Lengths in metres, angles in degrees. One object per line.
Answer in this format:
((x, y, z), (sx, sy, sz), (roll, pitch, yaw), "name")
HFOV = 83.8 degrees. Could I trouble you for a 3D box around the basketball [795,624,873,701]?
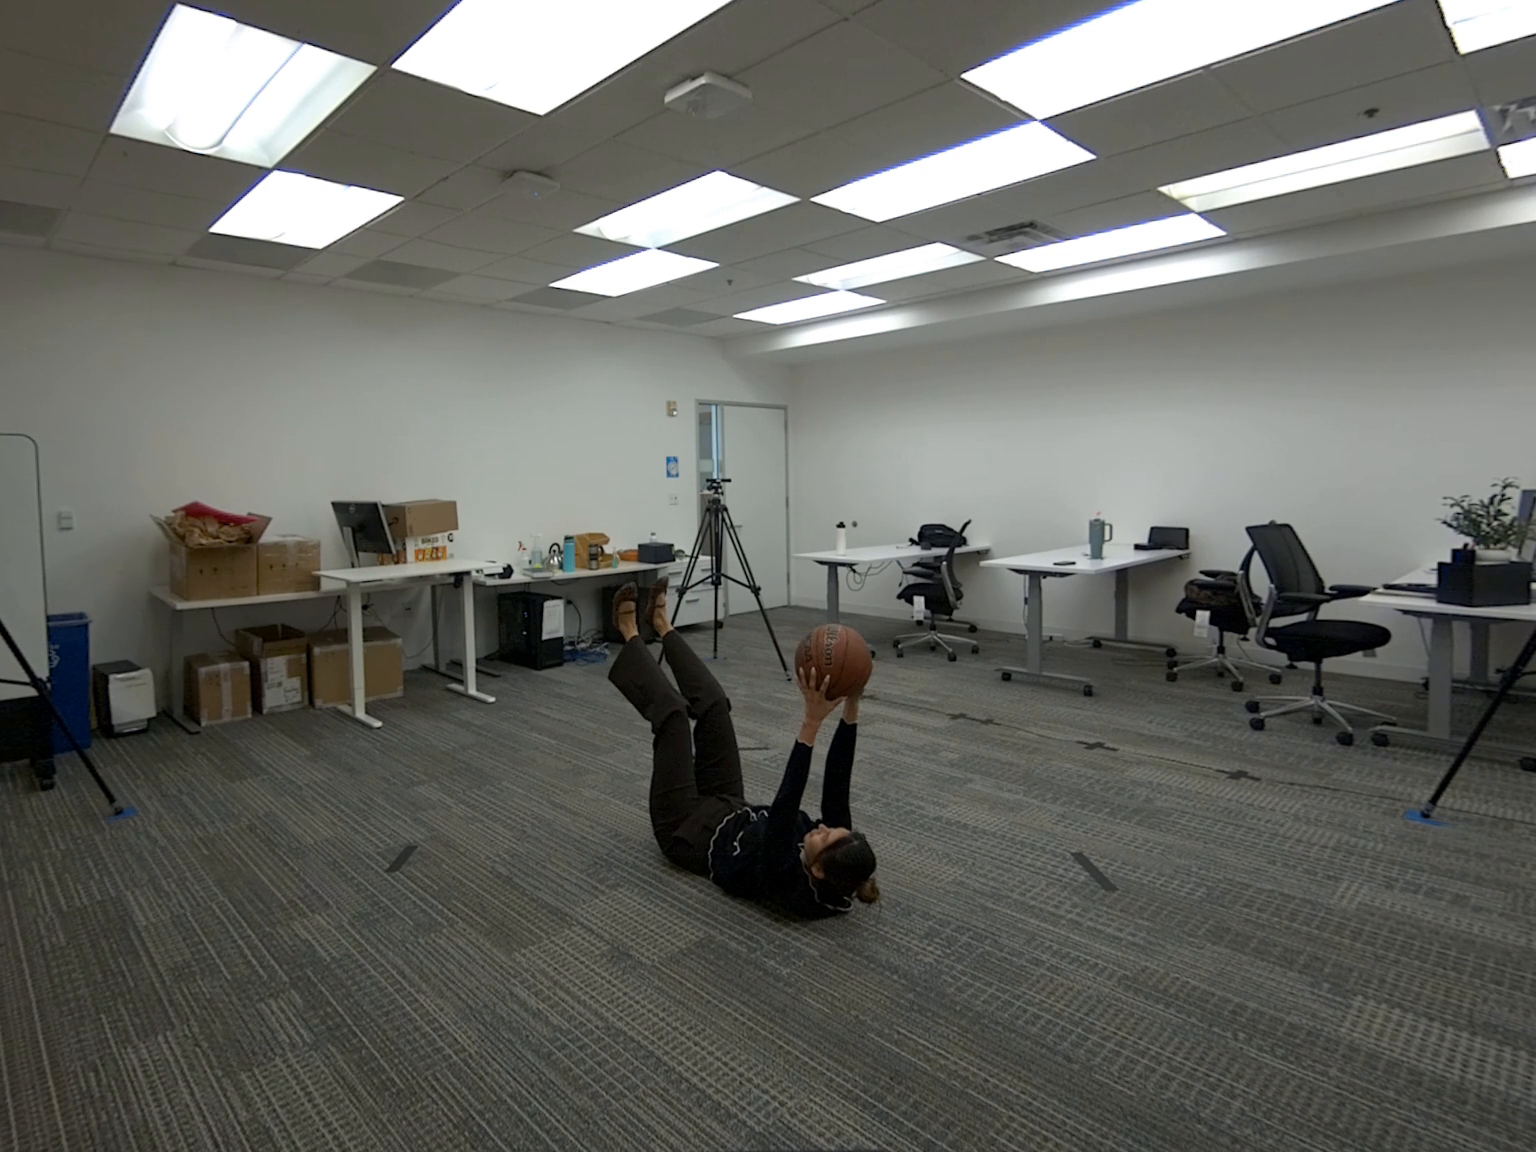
((0.201, 0.267, 2.620), (0.236, 0.235, 0.237), (-1, 5, -2), "basketball")
